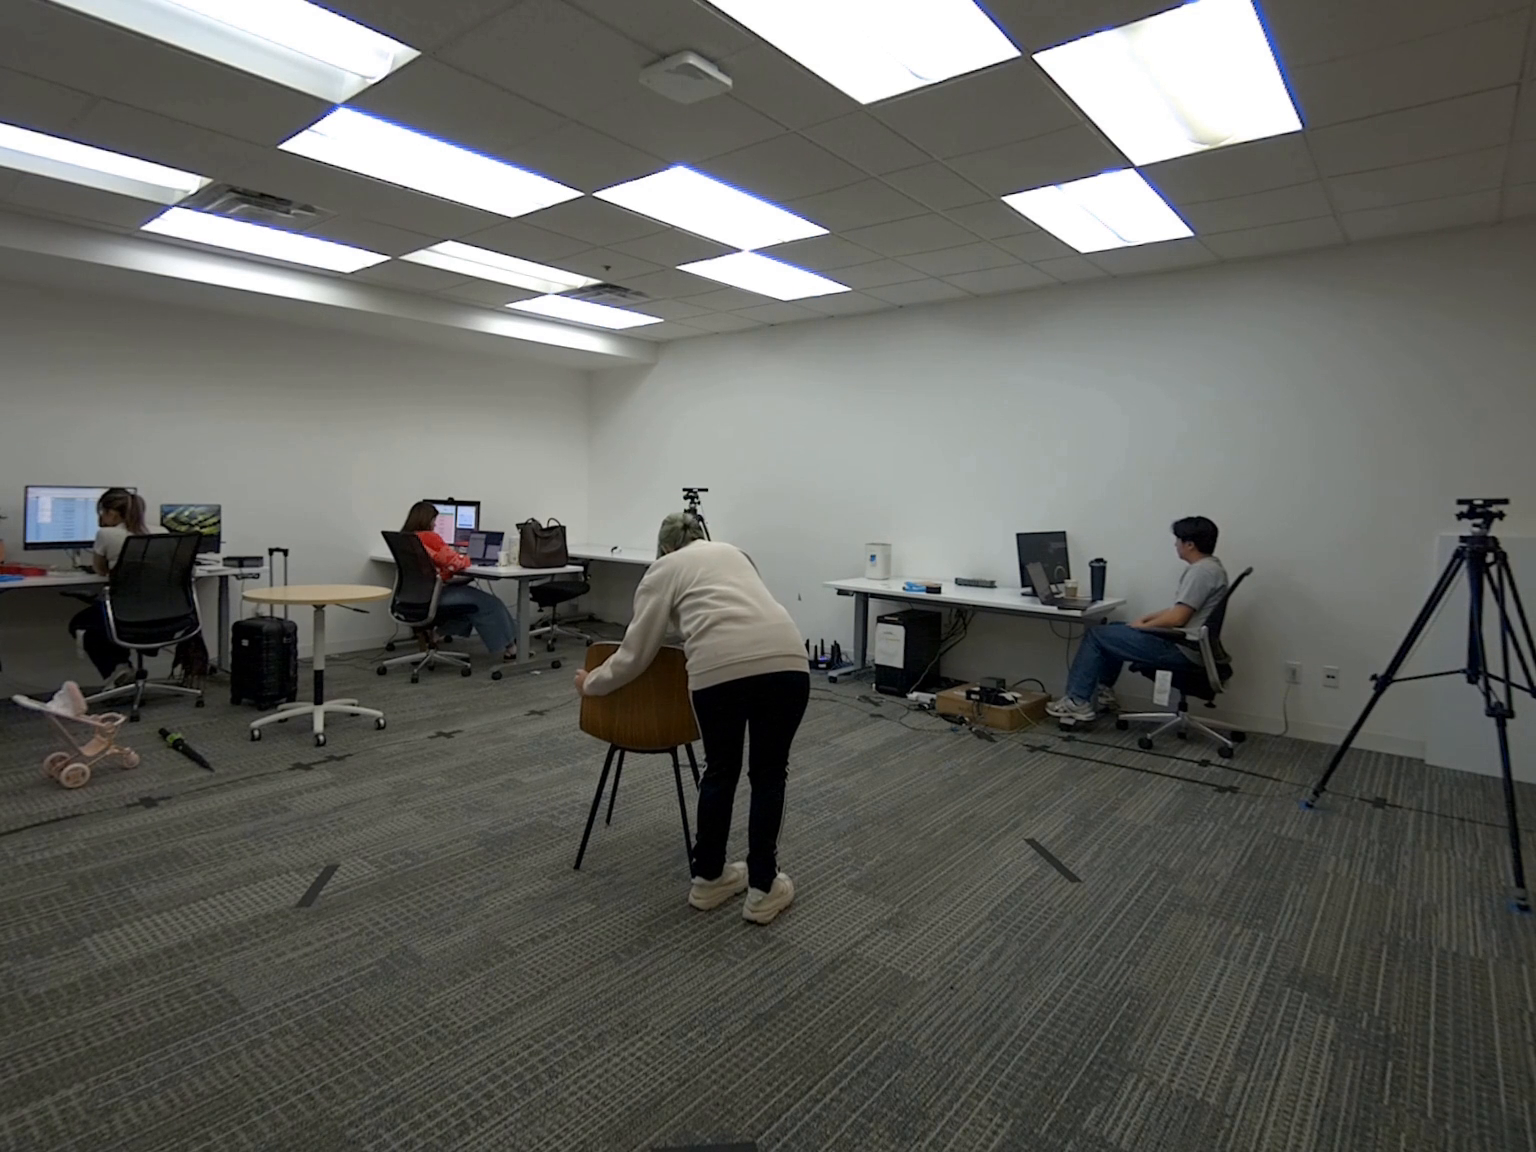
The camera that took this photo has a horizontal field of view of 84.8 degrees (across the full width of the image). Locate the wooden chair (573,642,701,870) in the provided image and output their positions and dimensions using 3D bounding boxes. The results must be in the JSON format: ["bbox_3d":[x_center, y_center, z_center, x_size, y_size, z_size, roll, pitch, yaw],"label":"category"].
[{"bbox_3d":[-0.471,0.623,3.258,0.482,0.872,0.522,1,6,7],"label":"wooden chair"}]
